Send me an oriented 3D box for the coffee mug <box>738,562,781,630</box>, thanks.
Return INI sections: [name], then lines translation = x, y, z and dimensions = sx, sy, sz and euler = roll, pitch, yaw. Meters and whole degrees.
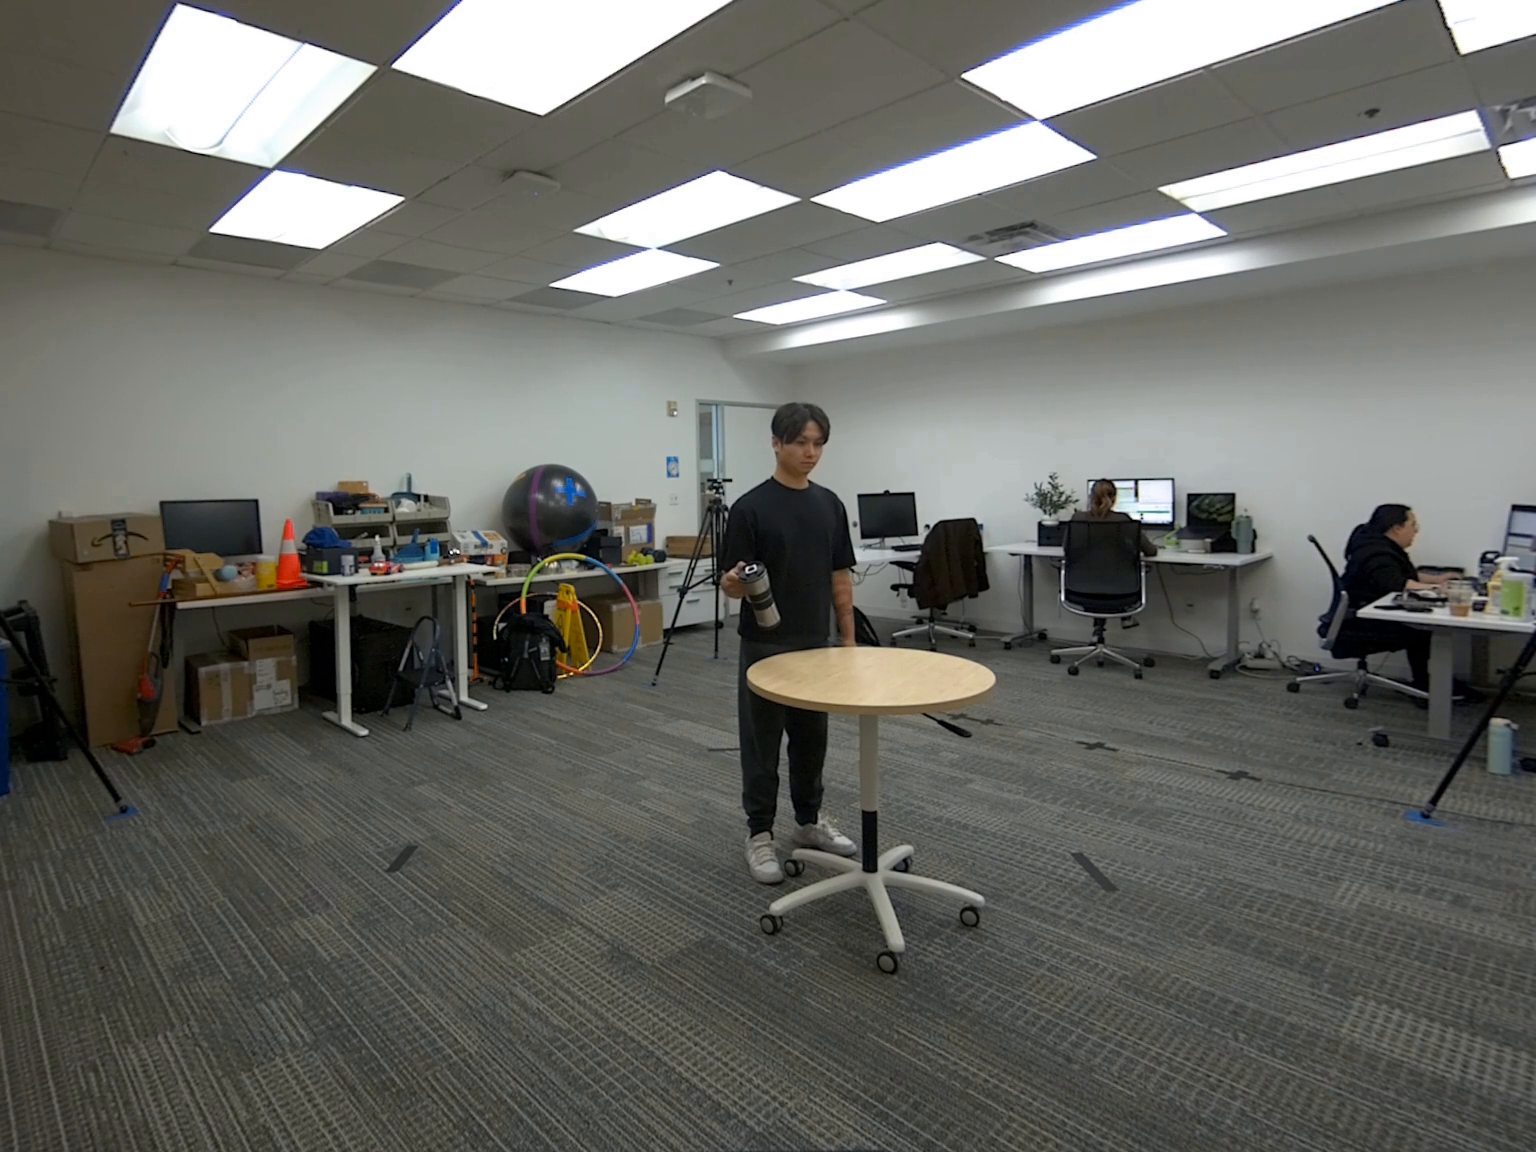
[coffee mug]
translation = -0.032, 0.057, 2.684
dimensions = 0.087, 0.197, 0.126
euler = -25, 27, -13
